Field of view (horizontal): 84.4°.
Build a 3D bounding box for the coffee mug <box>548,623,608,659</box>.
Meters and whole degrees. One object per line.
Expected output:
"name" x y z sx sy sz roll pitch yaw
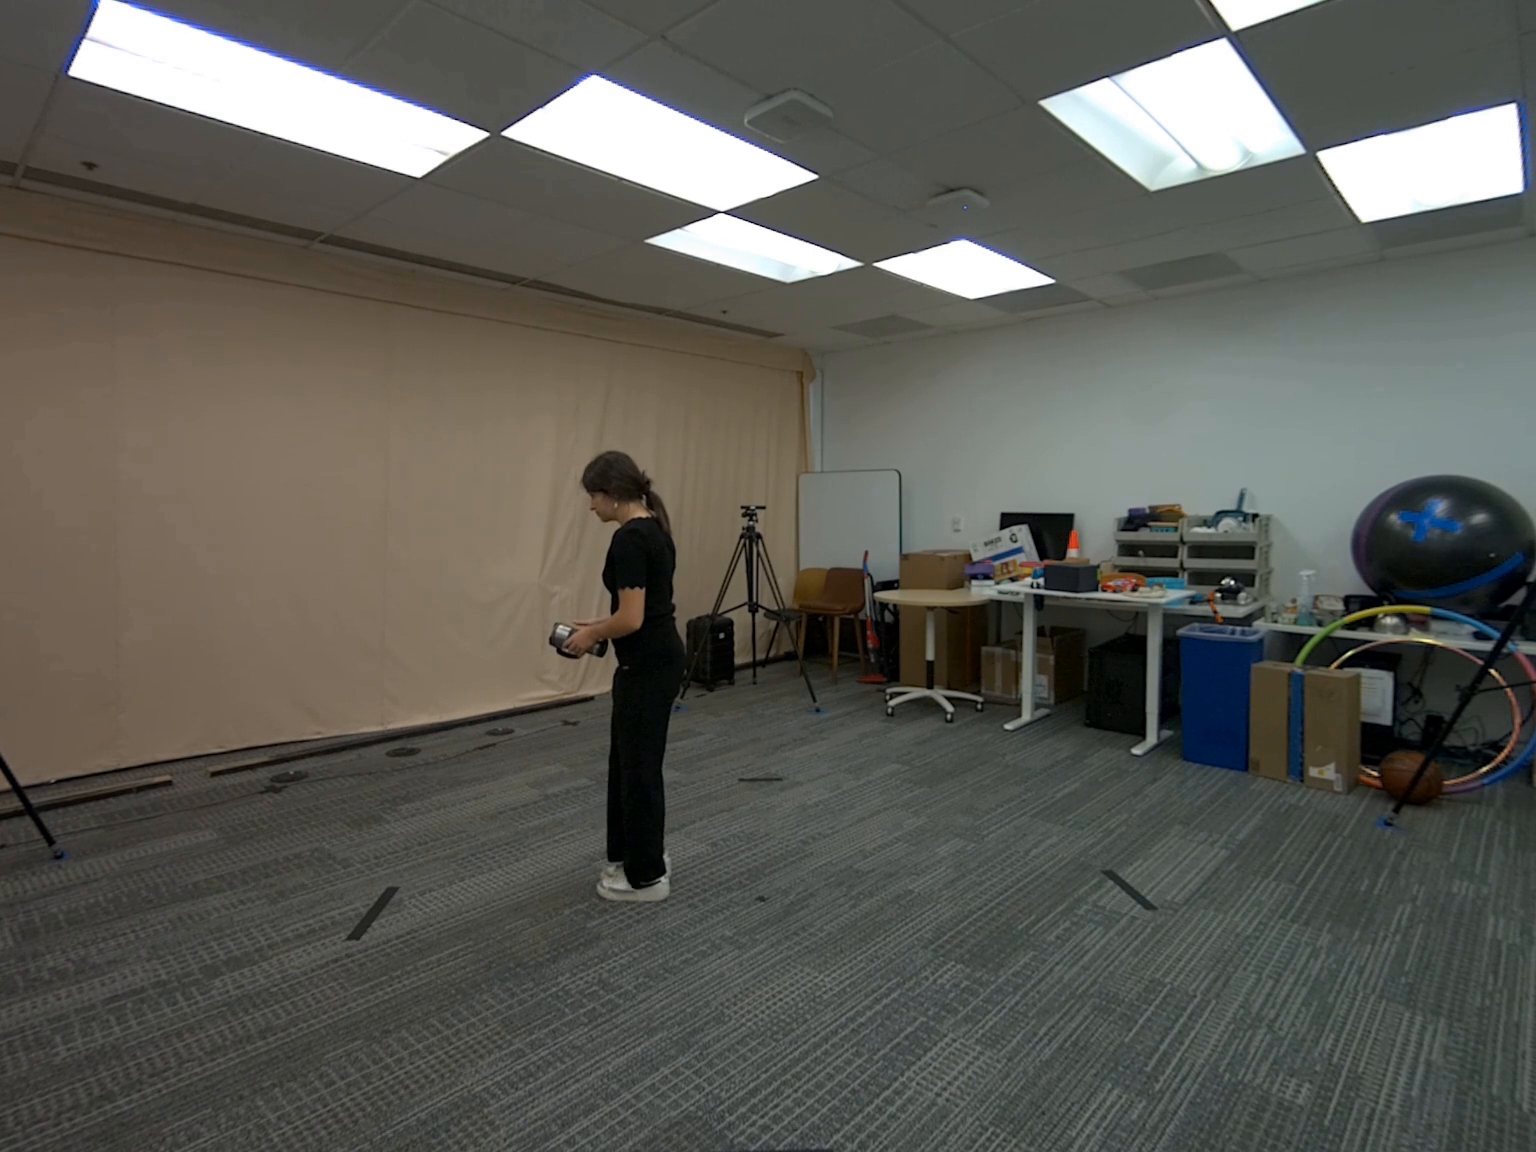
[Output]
"coffee mug" -0.675 0.241 3.029 0.204 0.089 0.120 13 -39 2
